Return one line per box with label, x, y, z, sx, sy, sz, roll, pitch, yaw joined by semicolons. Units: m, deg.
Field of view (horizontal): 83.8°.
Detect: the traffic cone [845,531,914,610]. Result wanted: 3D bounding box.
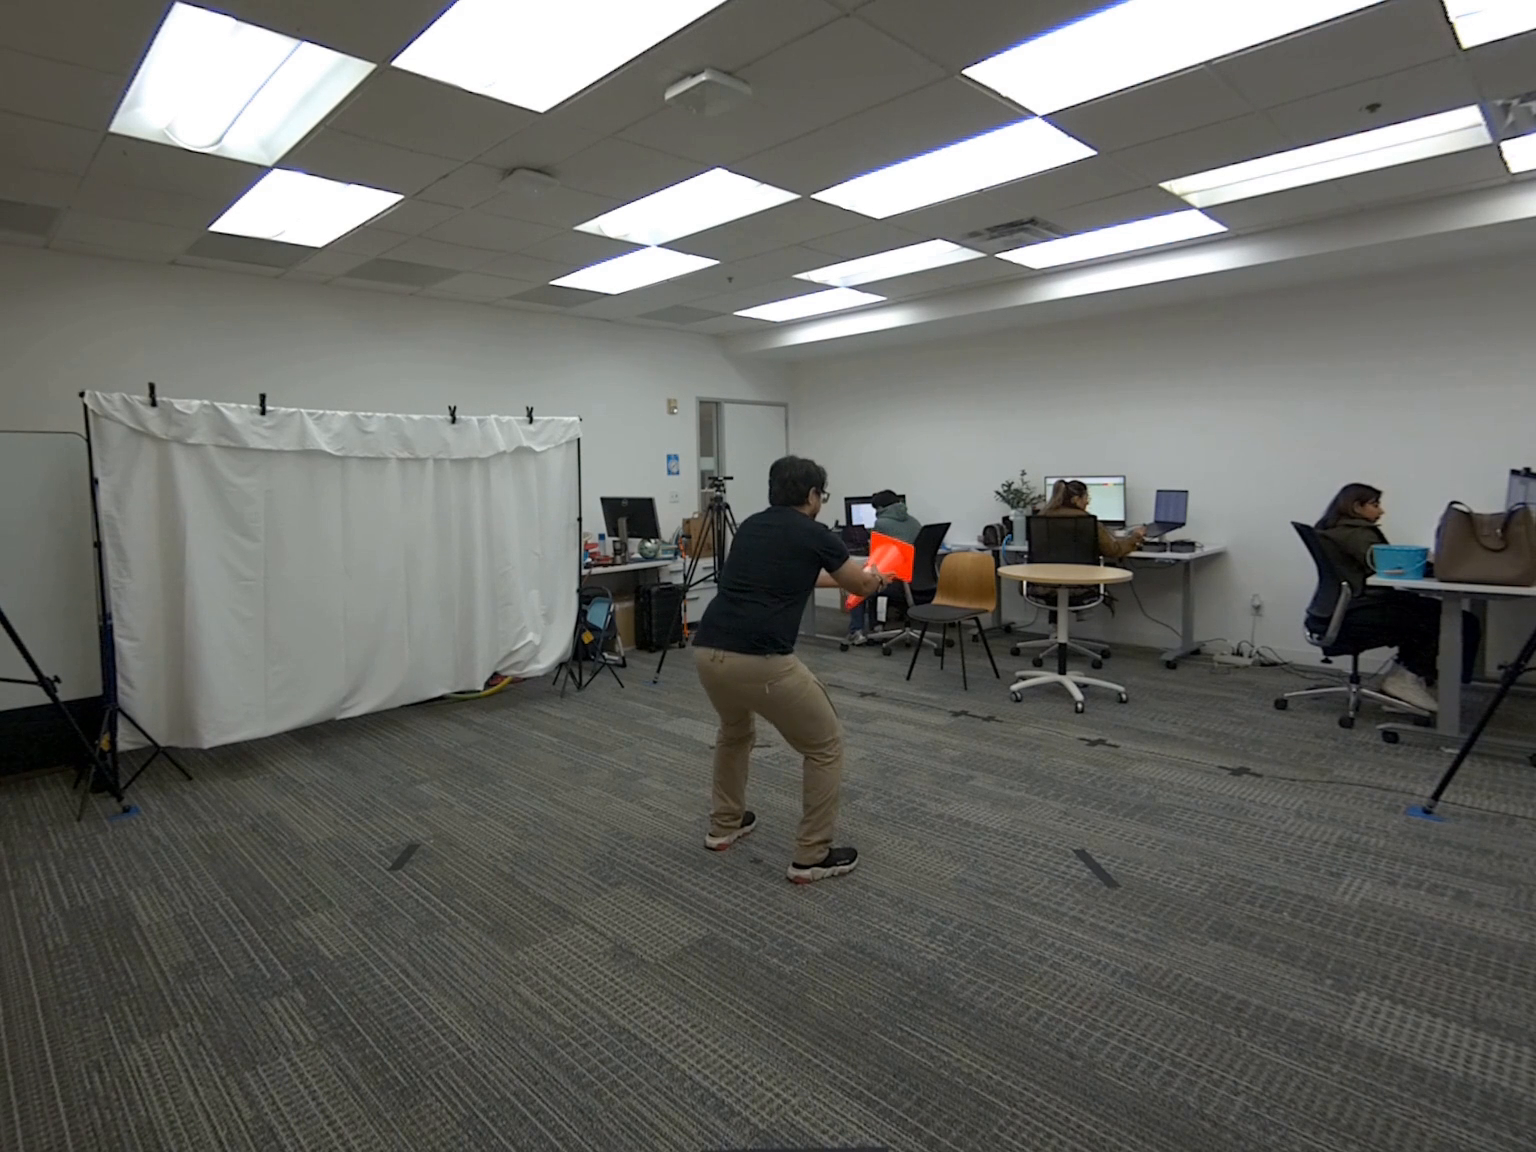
traffic cone;0.422;0.019;3.521;0.211;0.198;0.382;22;43;27
